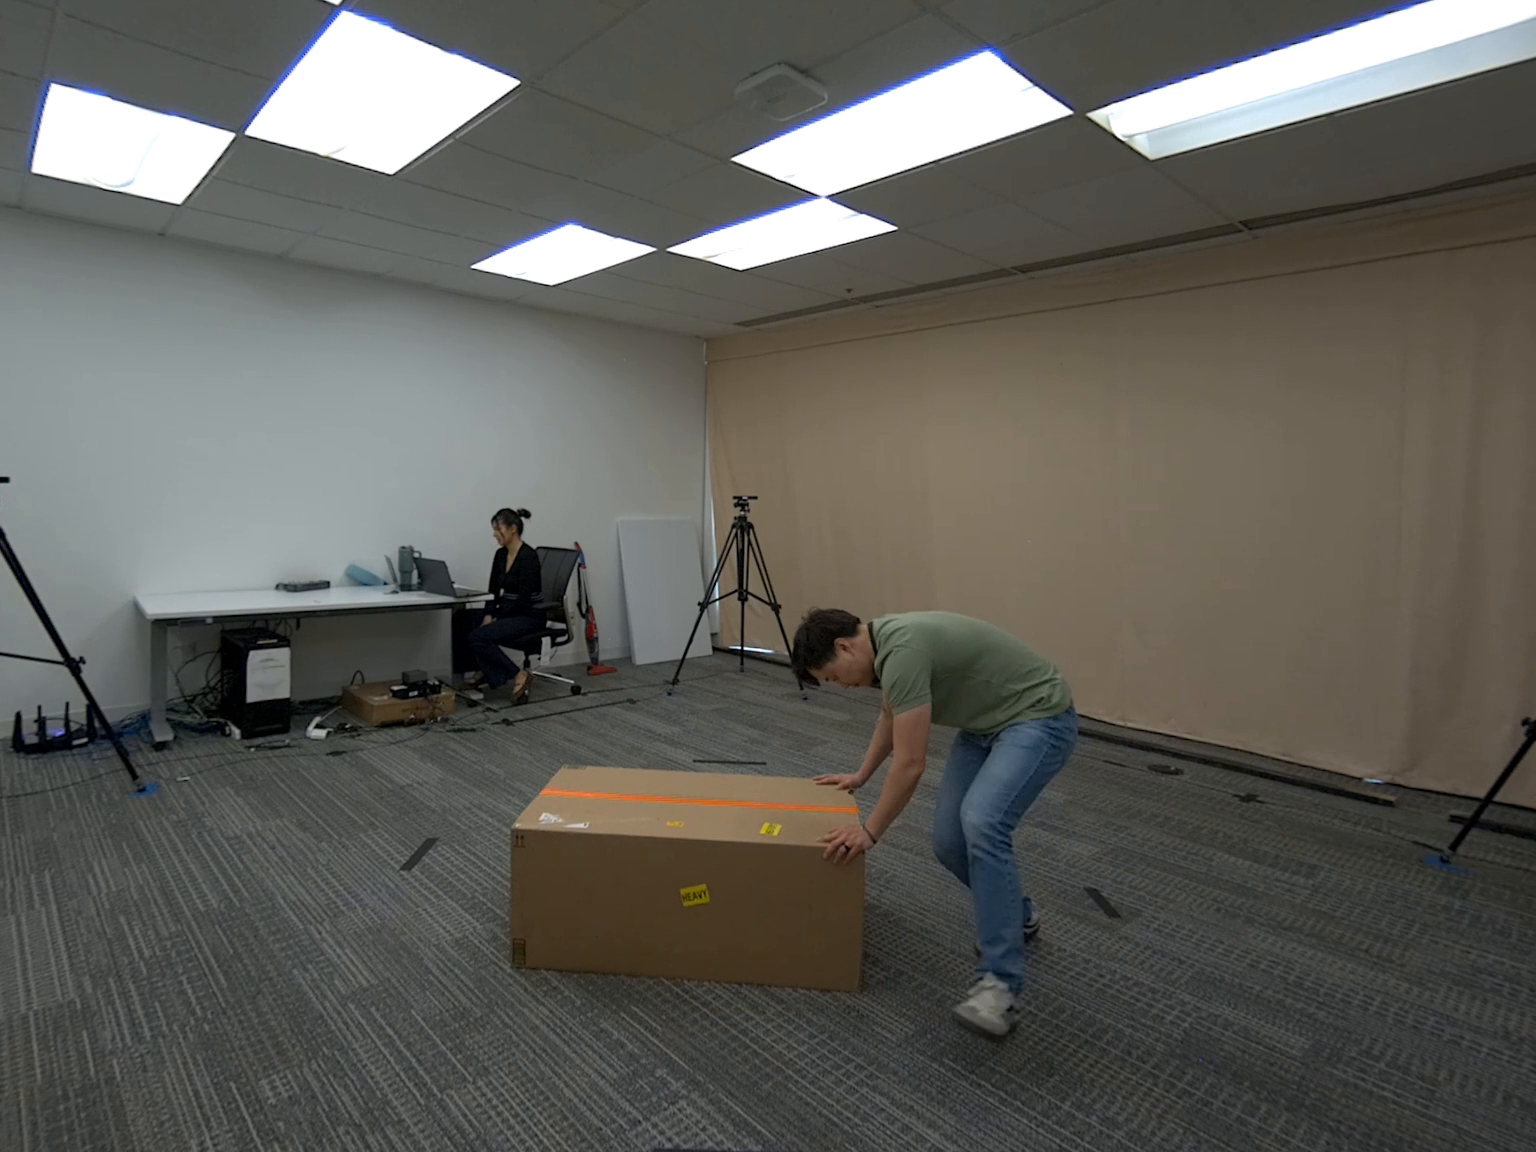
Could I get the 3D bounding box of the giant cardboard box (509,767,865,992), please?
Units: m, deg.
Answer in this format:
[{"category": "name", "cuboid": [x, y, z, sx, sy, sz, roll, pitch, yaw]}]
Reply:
[{"category": "giant cardboard box", "cuboid": [-0.237, 0.925, 2.694, 1.030, 0.424, 0.577, 2, 6, 4]}]
